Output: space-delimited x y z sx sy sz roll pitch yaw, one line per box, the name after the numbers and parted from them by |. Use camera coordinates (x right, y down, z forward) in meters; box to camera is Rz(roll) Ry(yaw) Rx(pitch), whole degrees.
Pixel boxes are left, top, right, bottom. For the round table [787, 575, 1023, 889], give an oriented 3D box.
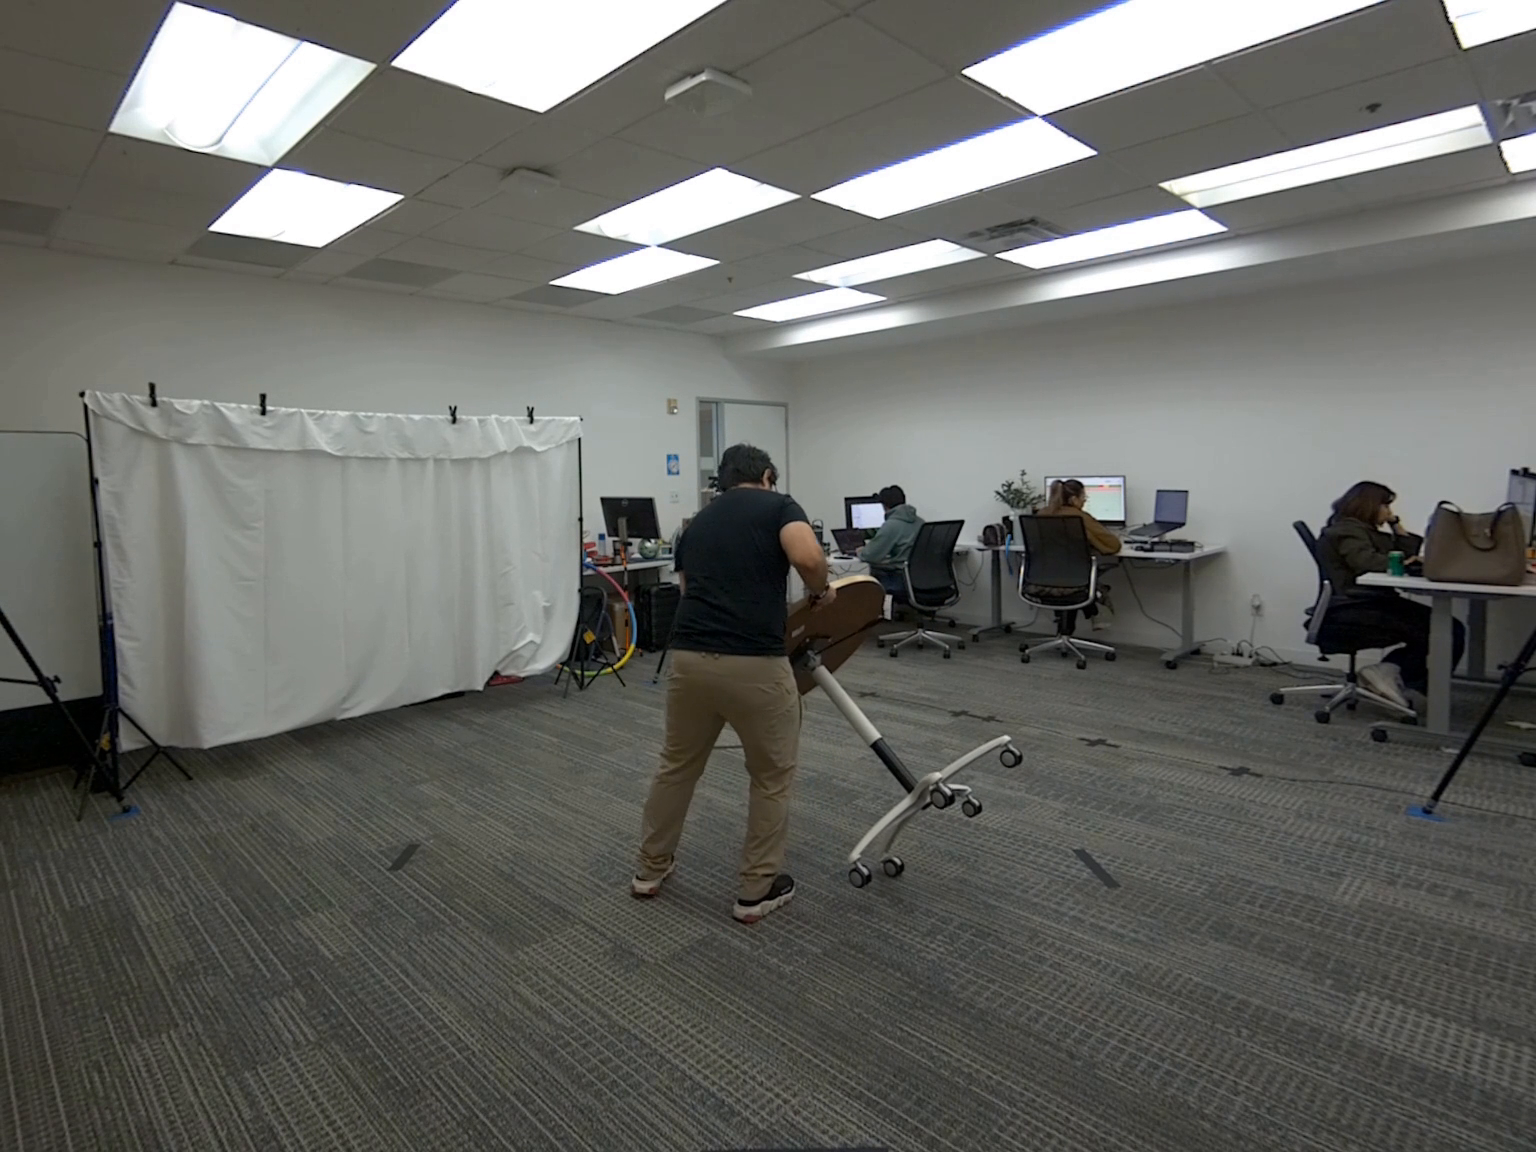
0.356 0.535 2.977 0.764 0.779 0.813 -6 47 -47 | round table
